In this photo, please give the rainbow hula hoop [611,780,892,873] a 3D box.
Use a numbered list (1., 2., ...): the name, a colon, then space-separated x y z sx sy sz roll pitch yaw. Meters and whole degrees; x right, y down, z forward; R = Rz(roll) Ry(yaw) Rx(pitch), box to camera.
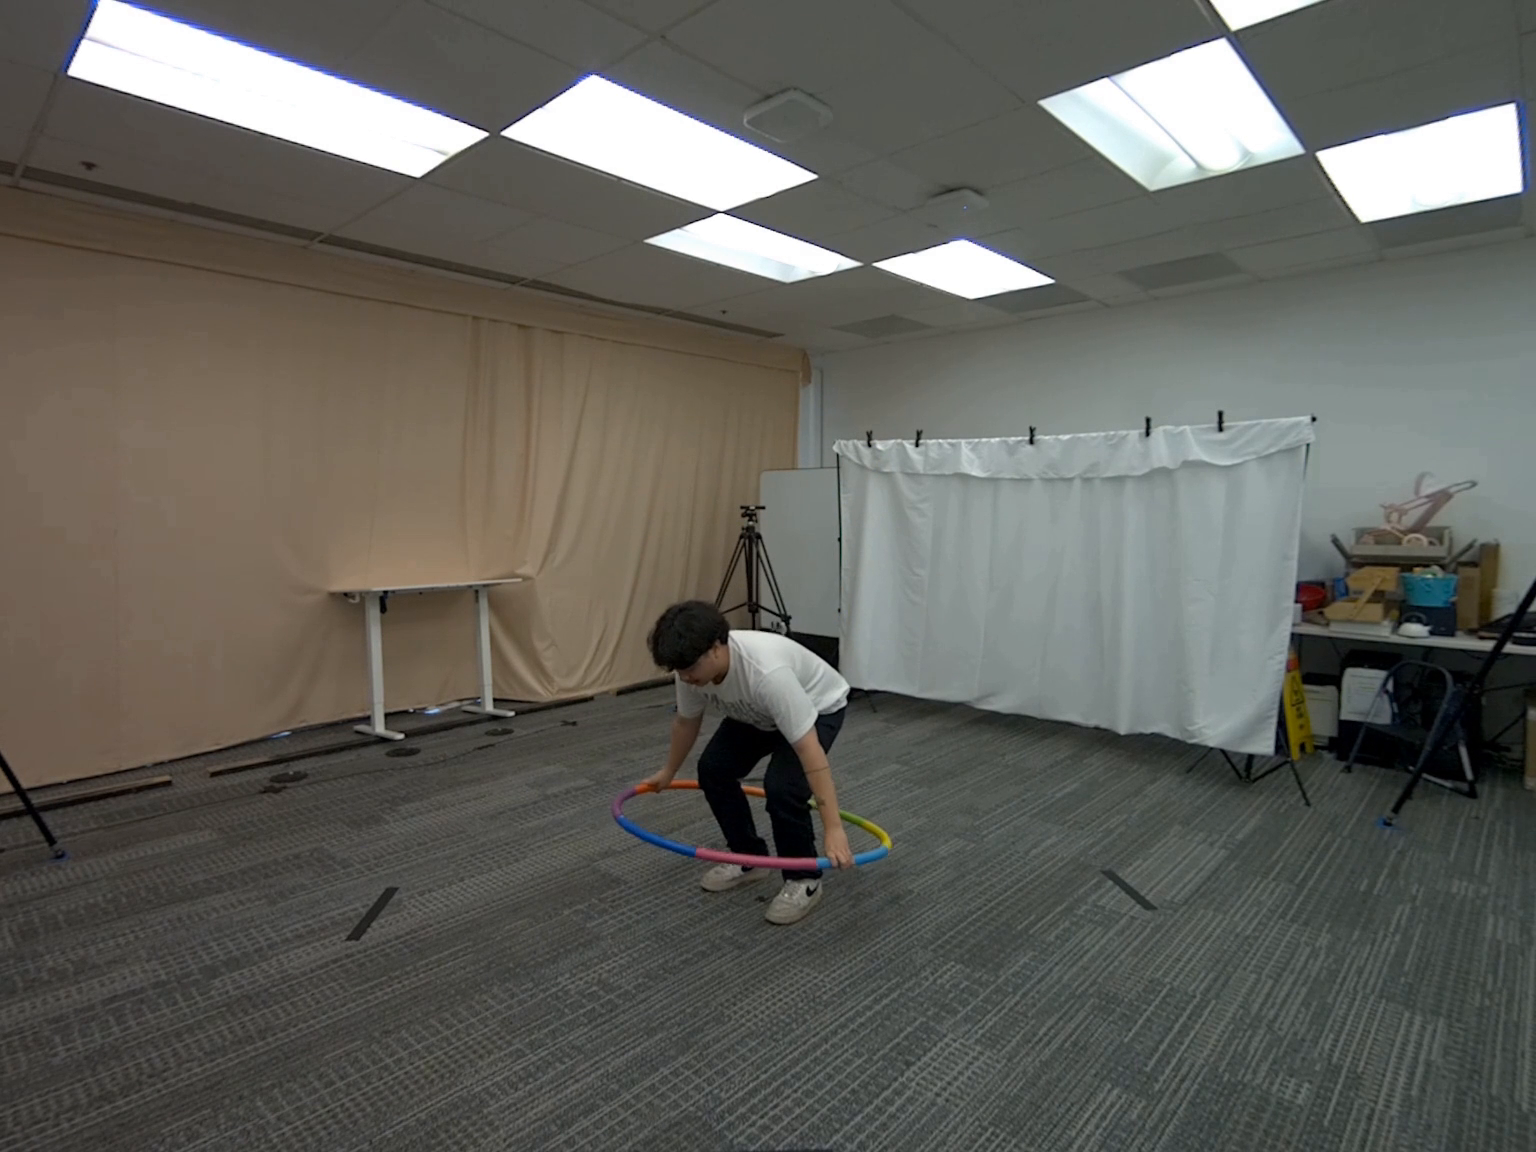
1. rainbow hula hoop: -0.057 0.861 2.986 0.985 0.052 0.984 8 -2 -1
